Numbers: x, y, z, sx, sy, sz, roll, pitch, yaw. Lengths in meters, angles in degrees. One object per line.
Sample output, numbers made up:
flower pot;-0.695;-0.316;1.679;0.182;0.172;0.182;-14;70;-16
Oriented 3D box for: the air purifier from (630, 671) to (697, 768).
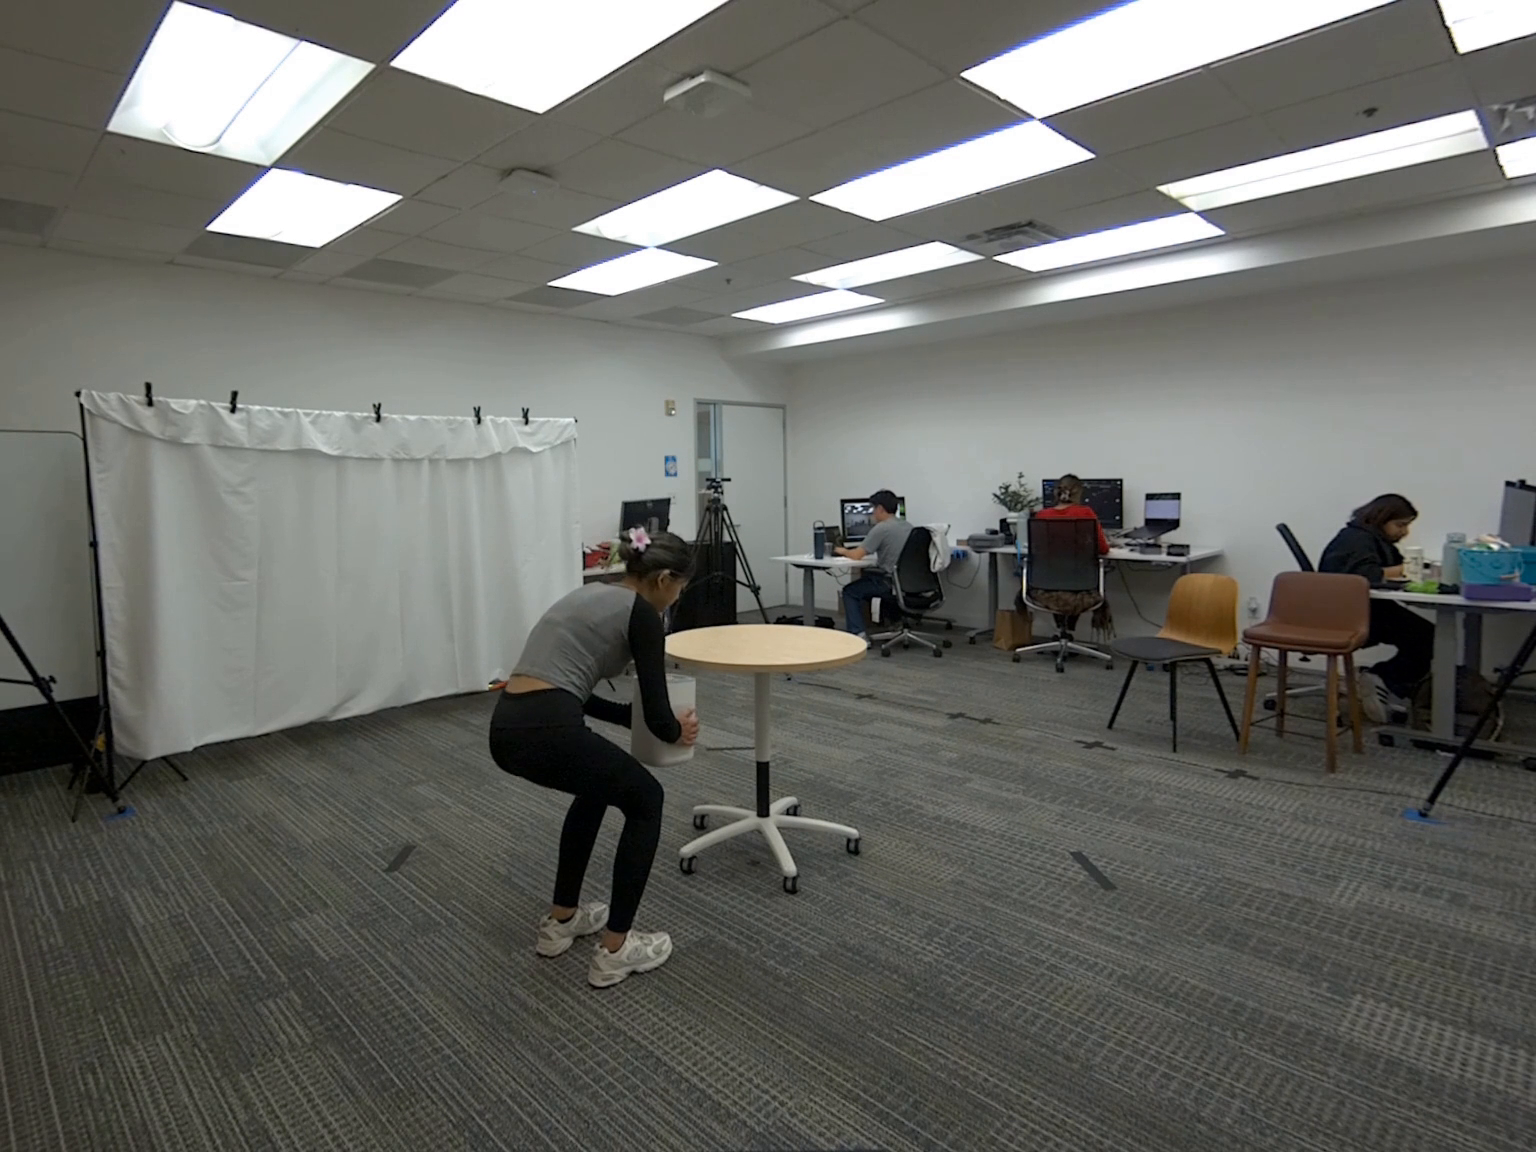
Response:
air purifier;-0.332;0.451;2.687;0.166;0.266;0.176;3;-2;-45
